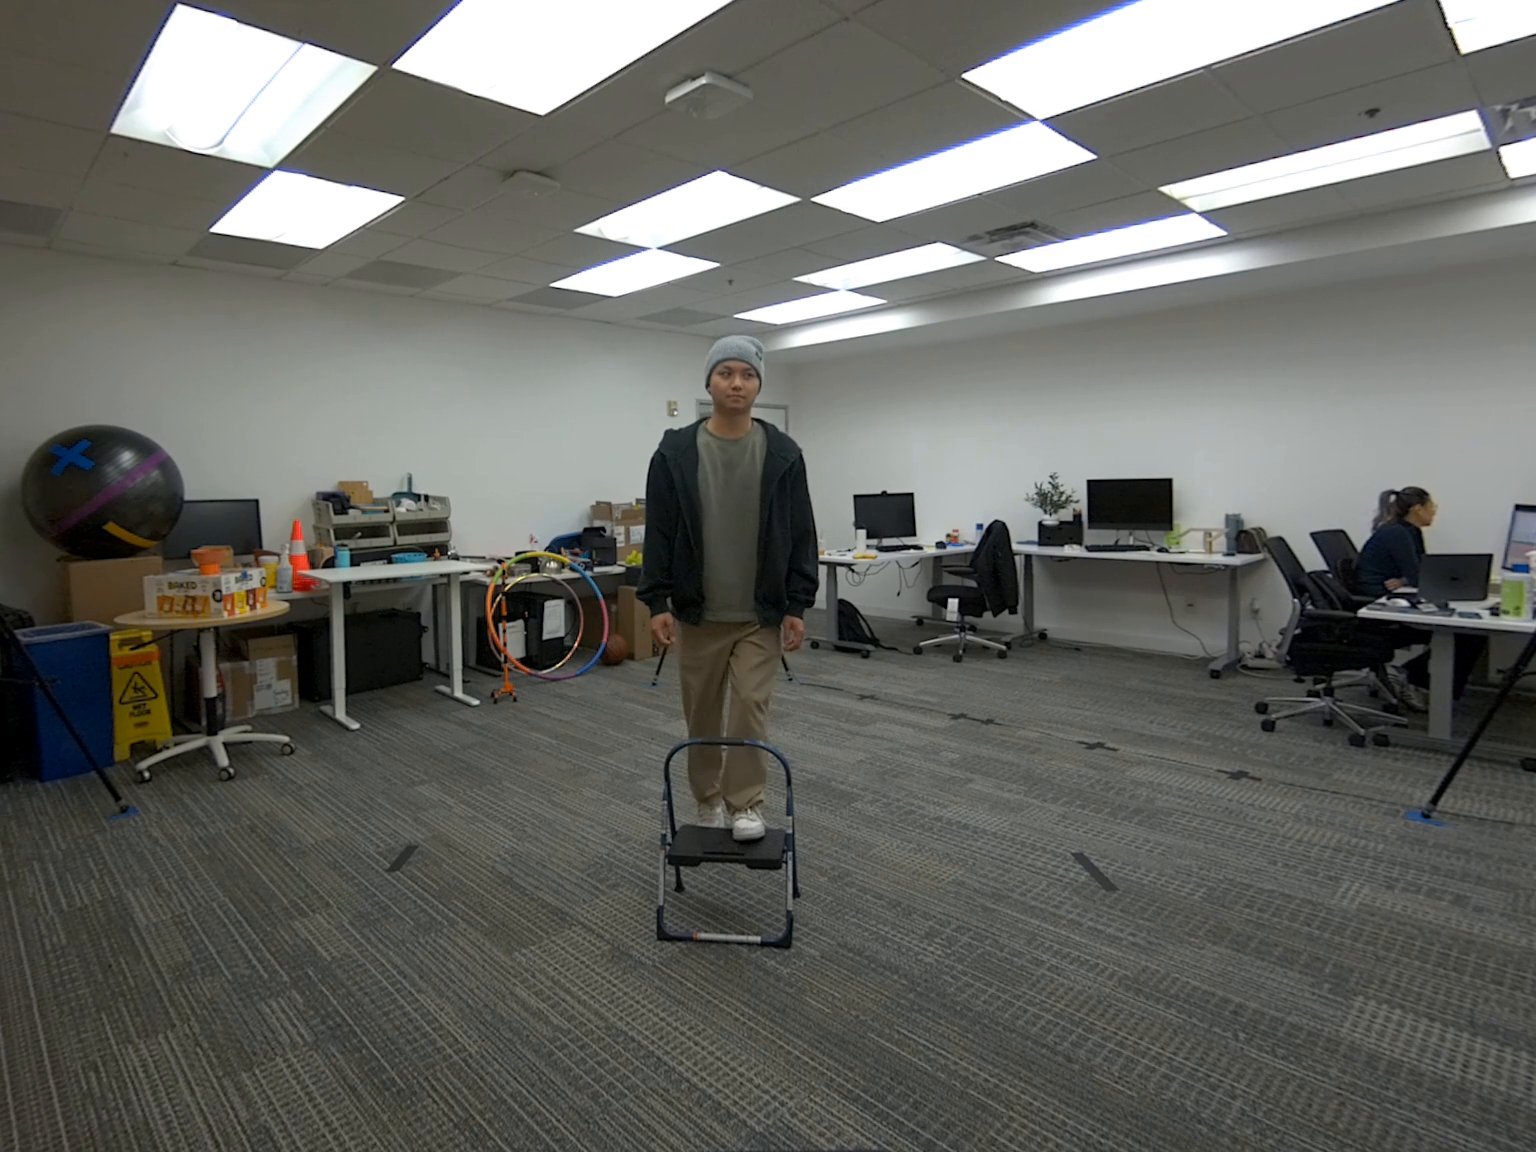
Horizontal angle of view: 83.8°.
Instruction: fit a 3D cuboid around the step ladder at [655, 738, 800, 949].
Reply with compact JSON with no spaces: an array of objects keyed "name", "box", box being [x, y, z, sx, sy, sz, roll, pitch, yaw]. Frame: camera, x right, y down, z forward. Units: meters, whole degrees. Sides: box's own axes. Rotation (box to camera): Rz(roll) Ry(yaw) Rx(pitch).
[{"name":"step ladder","box":[-0.120,0.792,2.719,0.434,0.604,0.348,0,4,6]}]
